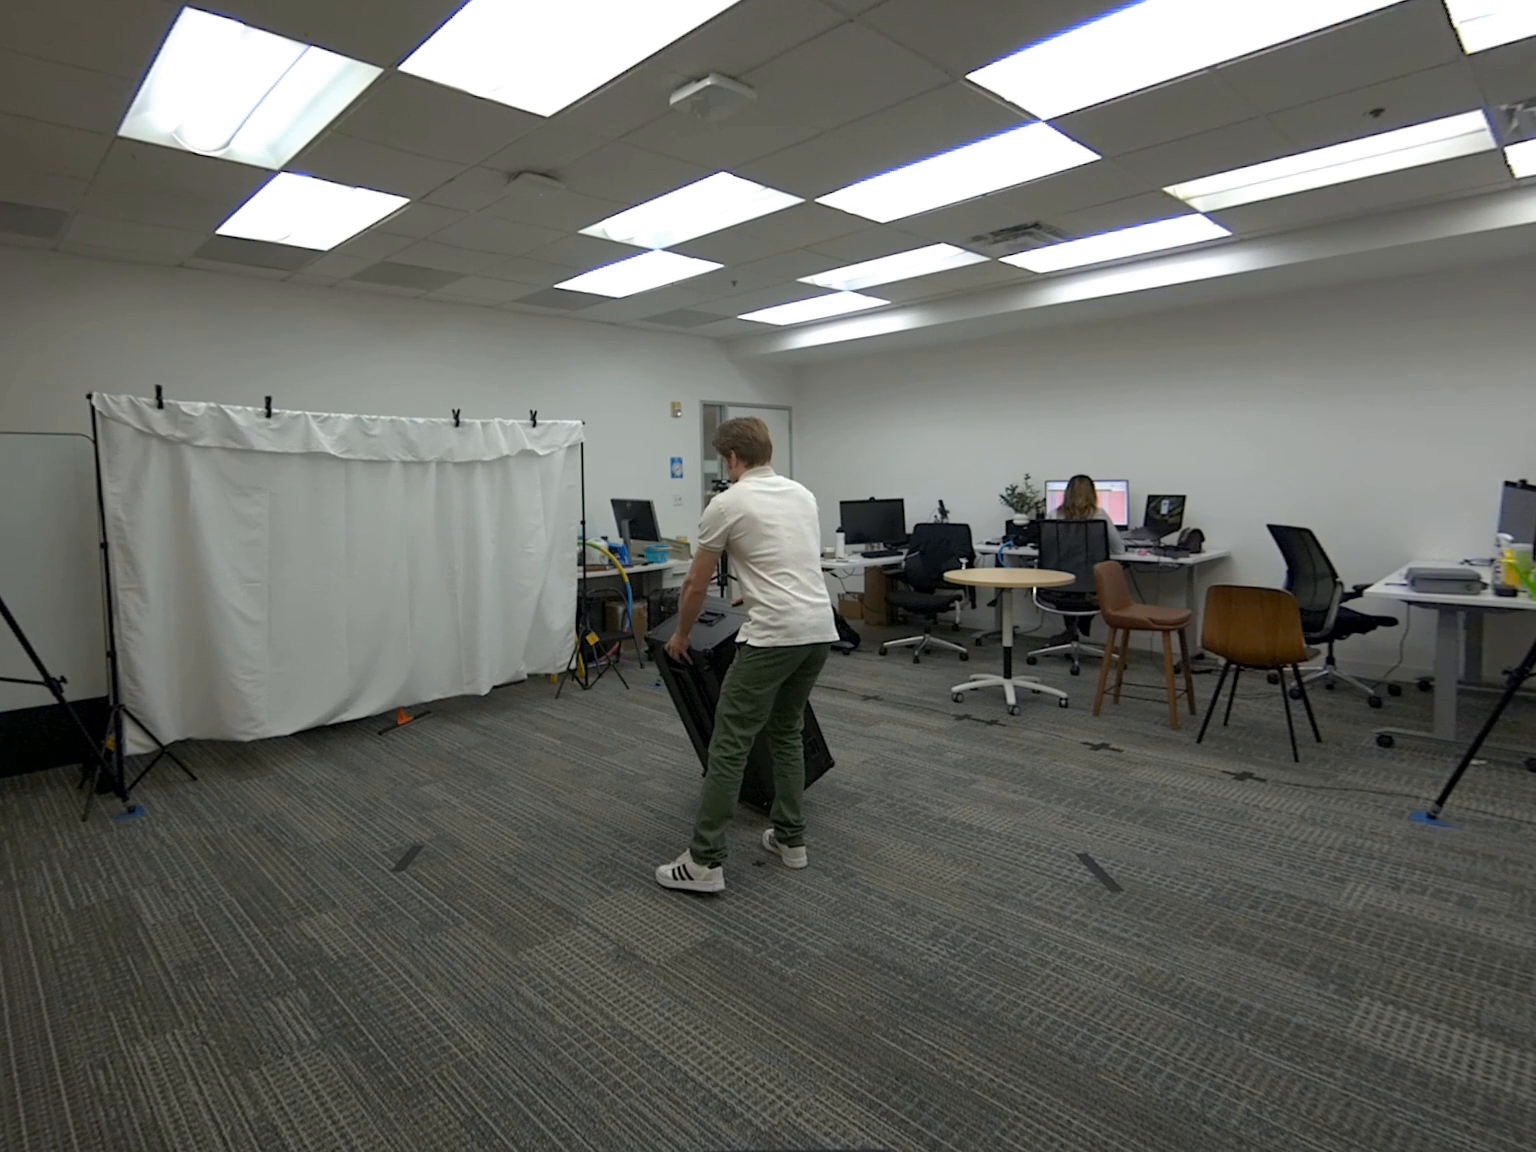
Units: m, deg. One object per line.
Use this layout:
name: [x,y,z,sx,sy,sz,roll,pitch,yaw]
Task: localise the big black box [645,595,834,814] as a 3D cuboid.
big black box: [-0.111,0.559,3.618,0.382,0.851,0.539,-32,20,-31]
